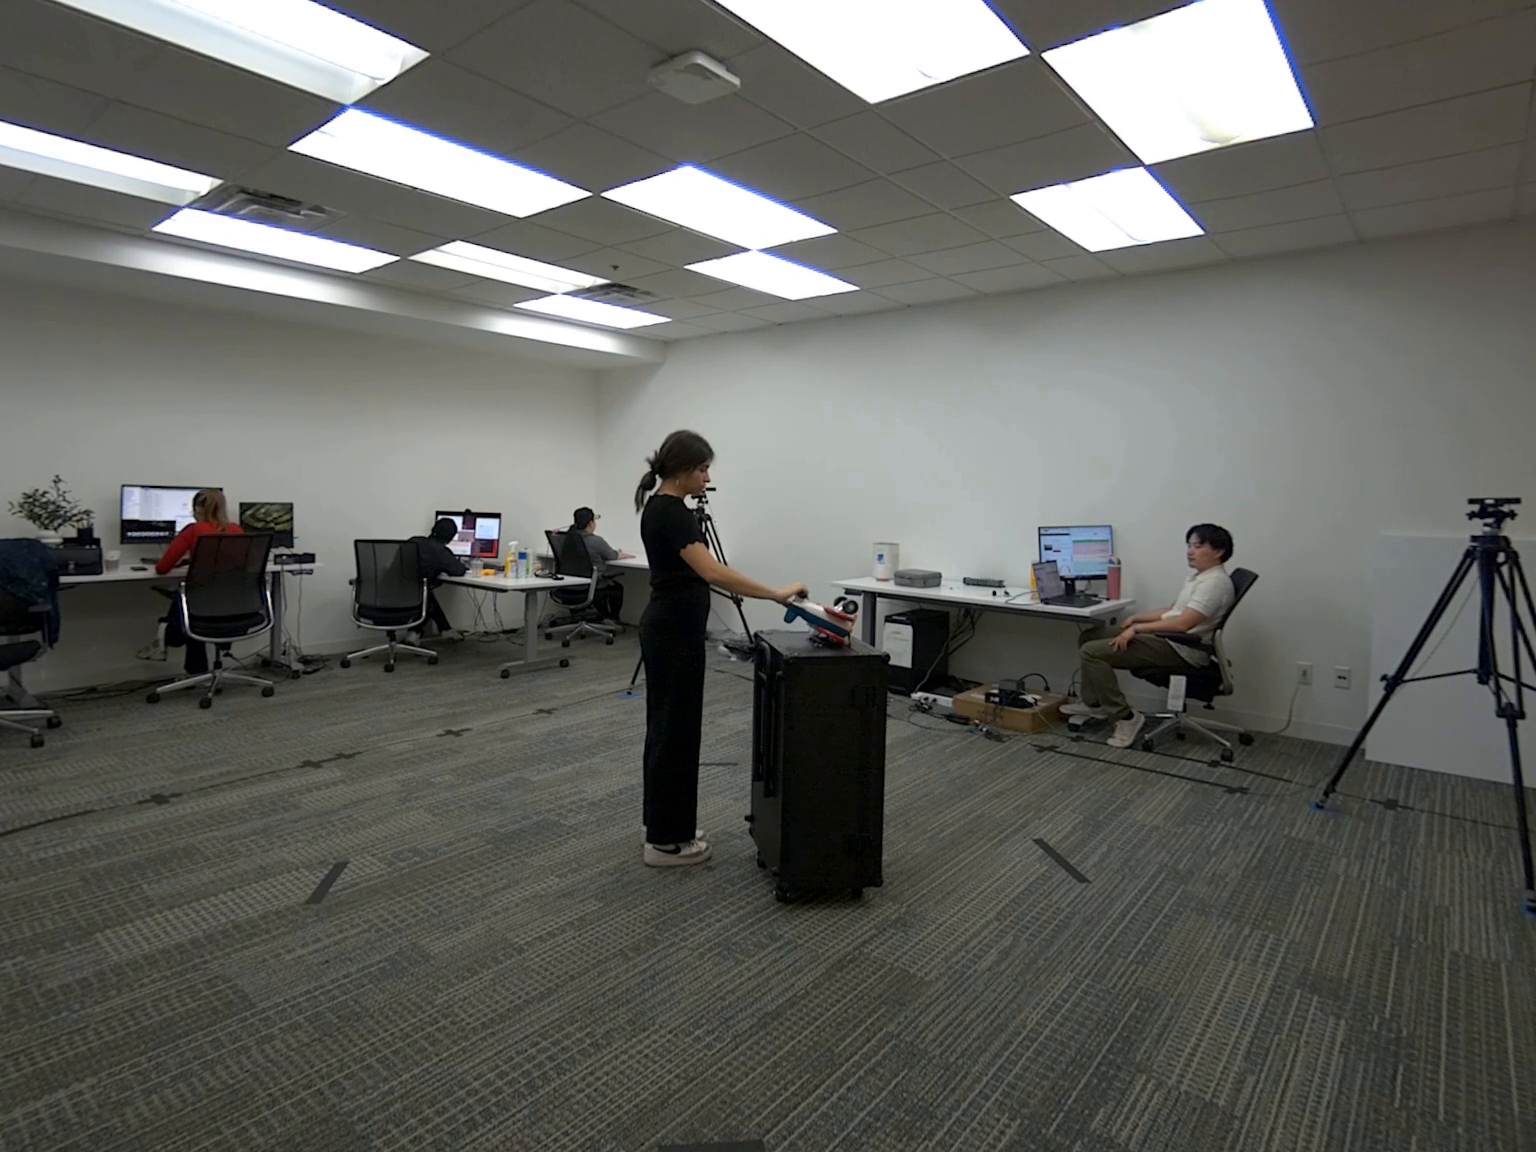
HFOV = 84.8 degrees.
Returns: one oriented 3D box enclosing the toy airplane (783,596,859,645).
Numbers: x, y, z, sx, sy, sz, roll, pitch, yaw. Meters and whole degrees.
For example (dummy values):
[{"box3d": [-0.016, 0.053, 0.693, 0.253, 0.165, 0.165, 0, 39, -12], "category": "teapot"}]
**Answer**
[{"box3d": [0.187, 0.134, 3.062, 0.263, 0.156, 0.247, 12, 1, 12], "category": "toy airplane"}]
